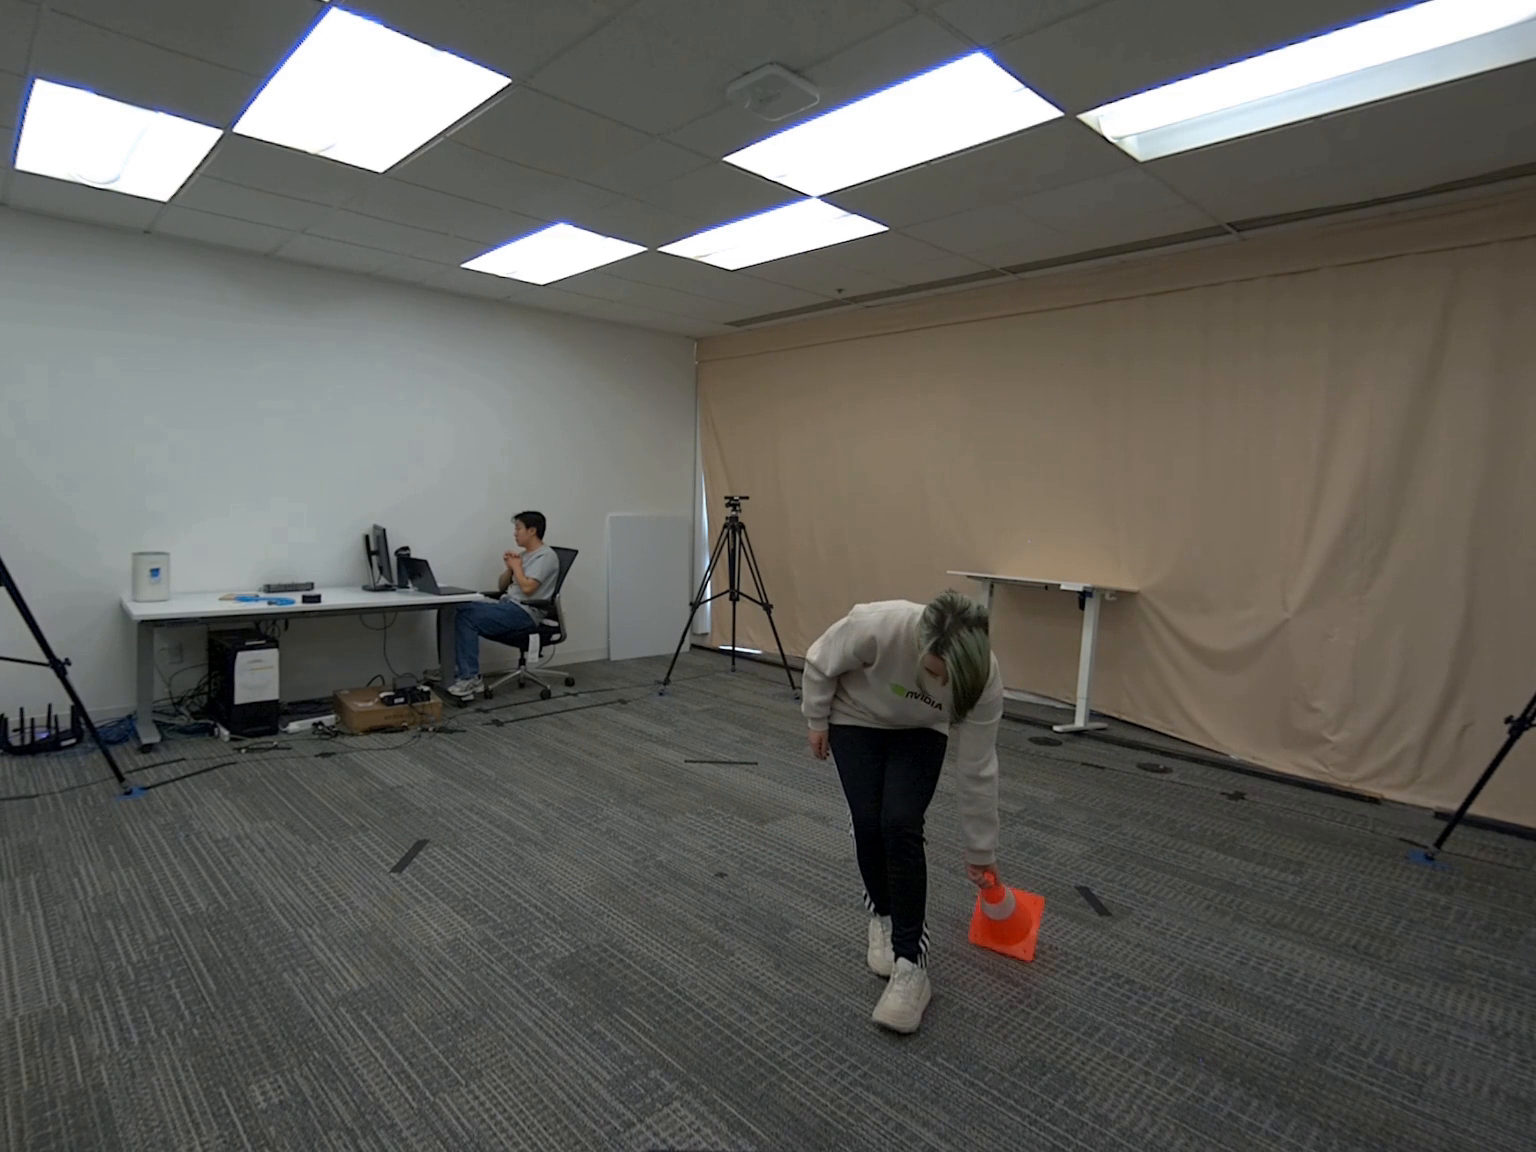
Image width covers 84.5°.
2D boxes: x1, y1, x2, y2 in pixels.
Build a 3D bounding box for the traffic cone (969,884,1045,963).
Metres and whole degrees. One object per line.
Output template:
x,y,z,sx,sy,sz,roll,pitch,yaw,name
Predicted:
0.681,0.979,2.511,0.209,0.205,0.372,7,-35,26,traffic cone
